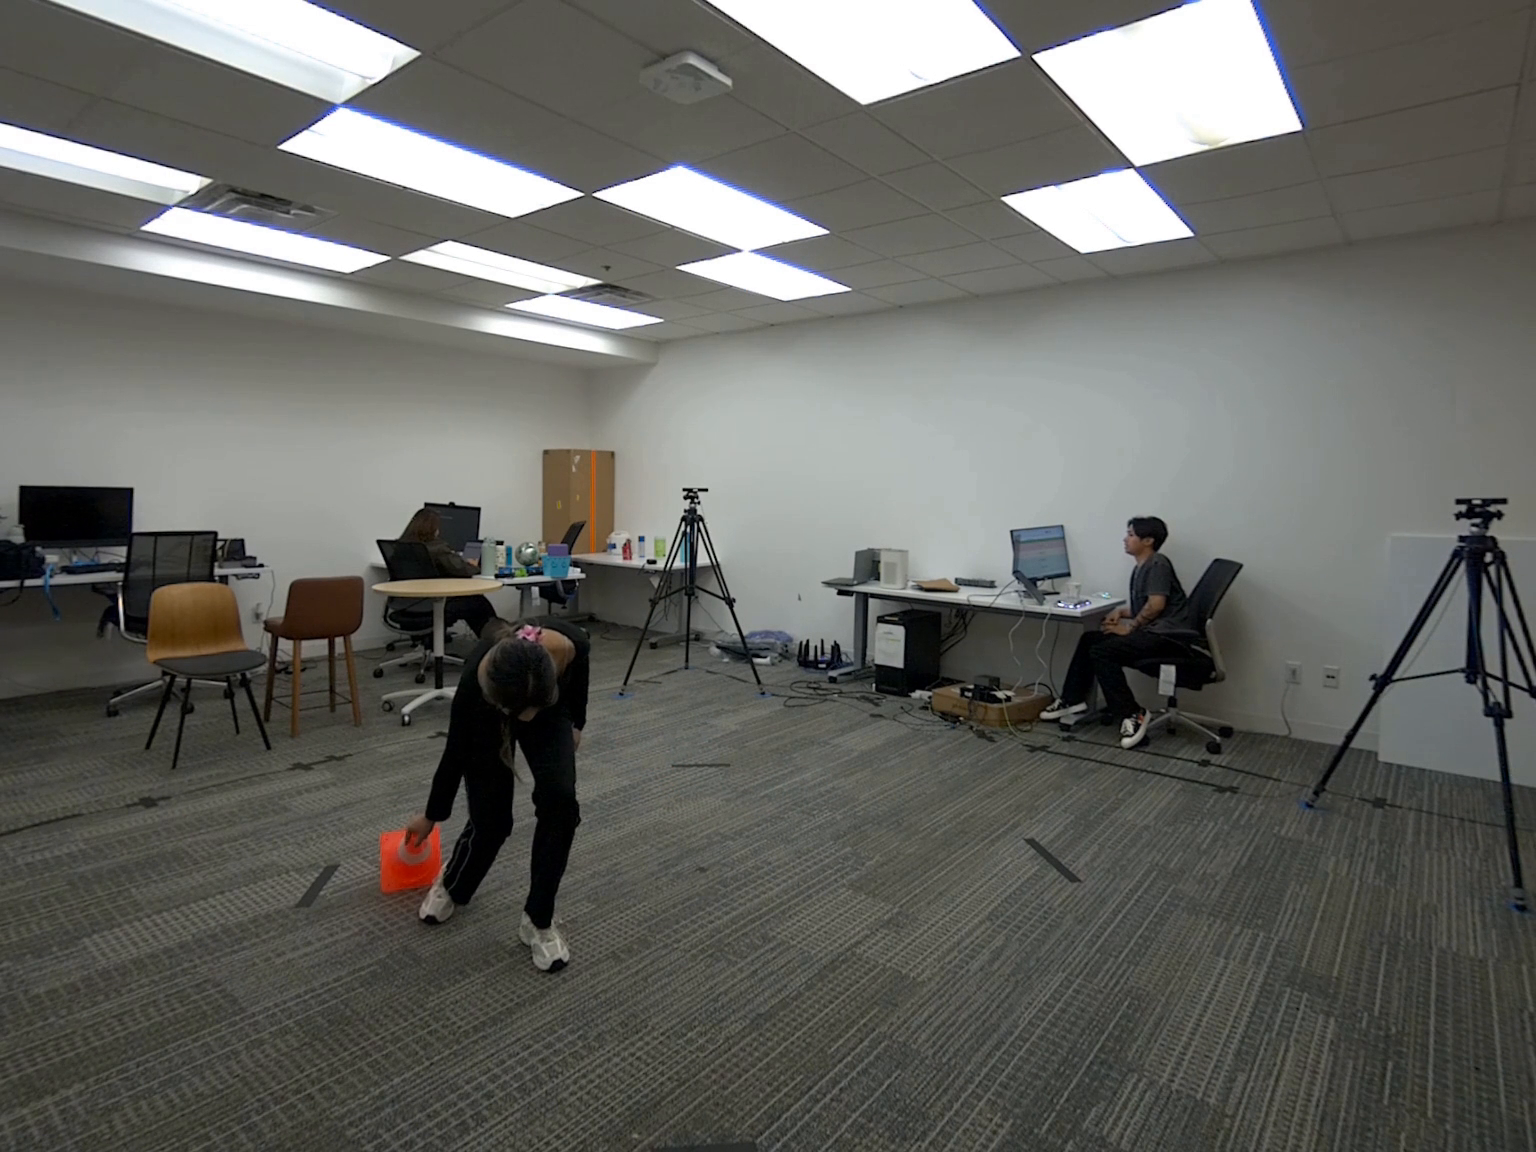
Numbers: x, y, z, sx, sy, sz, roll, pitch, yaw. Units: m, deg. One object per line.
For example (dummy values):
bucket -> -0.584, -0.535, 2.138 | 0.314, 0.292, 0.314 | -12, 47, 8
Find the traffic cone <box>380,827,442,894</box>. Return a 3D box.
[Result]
traffic cone -> -1.187, 0.900, 2.821 | 0.200, 0.209, 0.381 | 0, -28, -23
